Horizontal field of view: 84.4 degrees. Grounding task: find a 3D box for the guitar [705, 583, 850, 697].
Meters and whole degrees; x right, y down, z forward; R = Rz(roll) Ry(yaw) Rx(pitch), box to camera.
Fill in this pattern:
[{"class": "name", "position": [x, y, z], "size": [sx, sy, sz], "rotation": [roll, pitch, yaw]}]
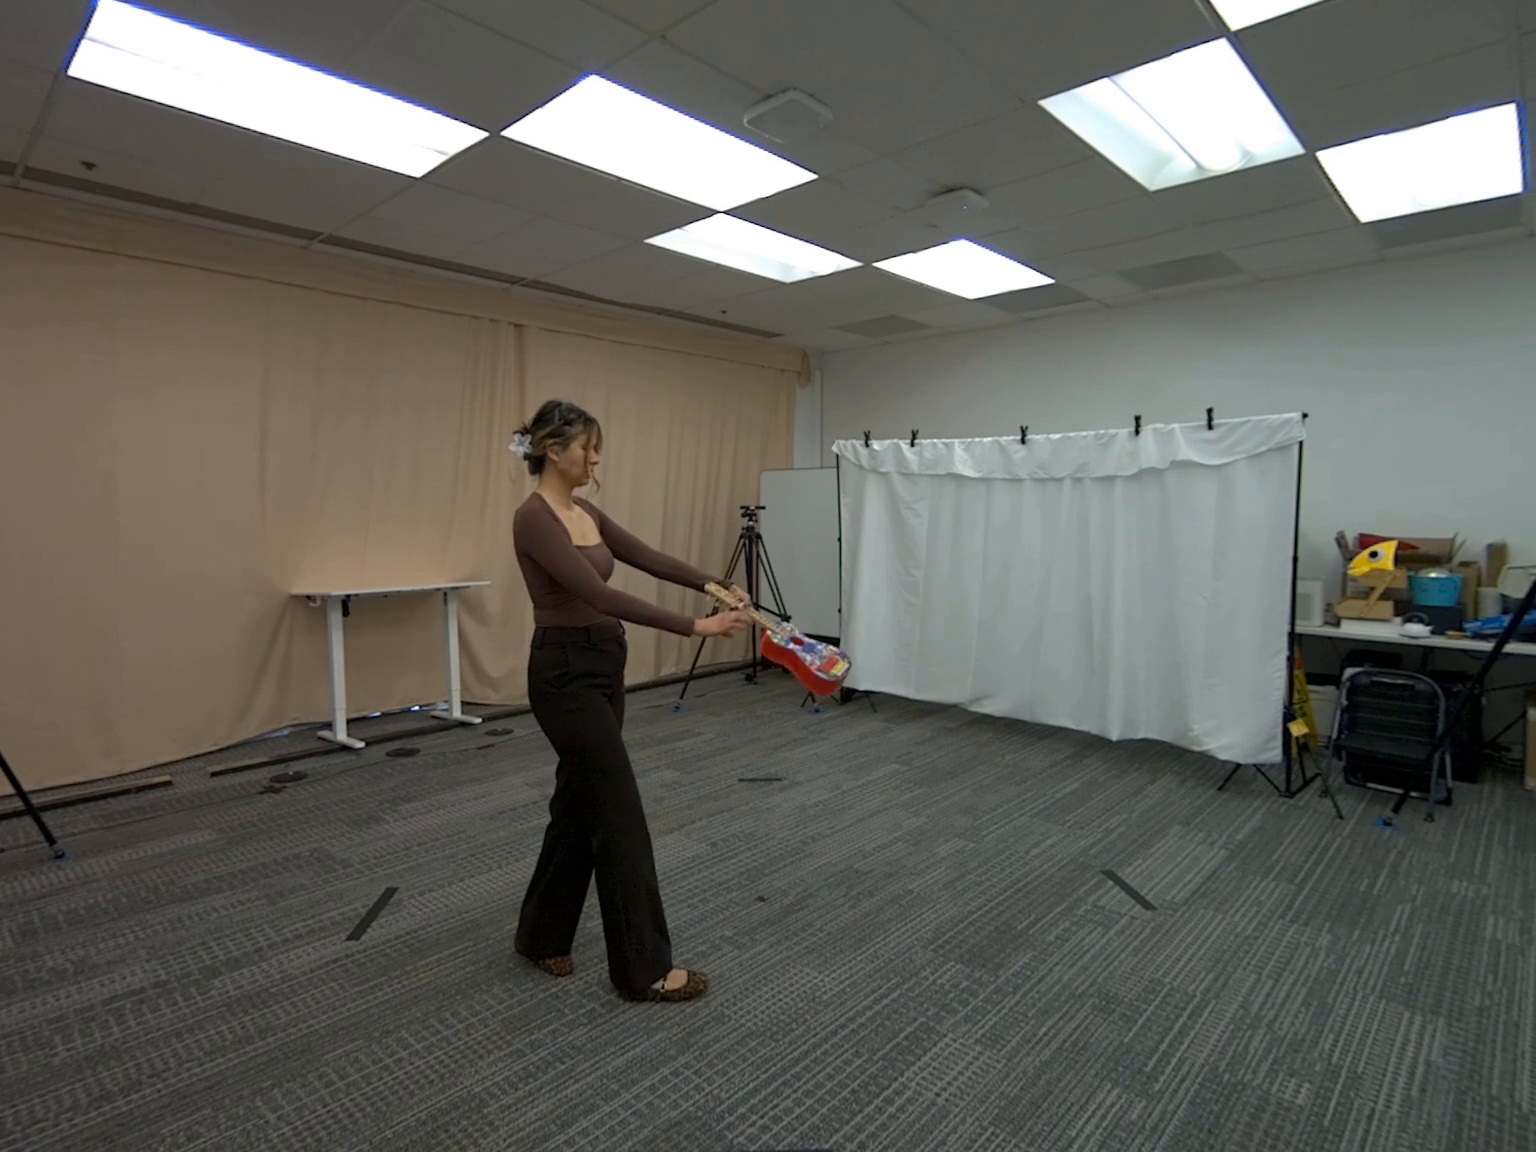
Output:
[{"class": "guitar", "position": [0.035, 0.171, 2.531], "size": [0.512, 0.070, 0.188], "rotation": [36, 28, 24]}]
